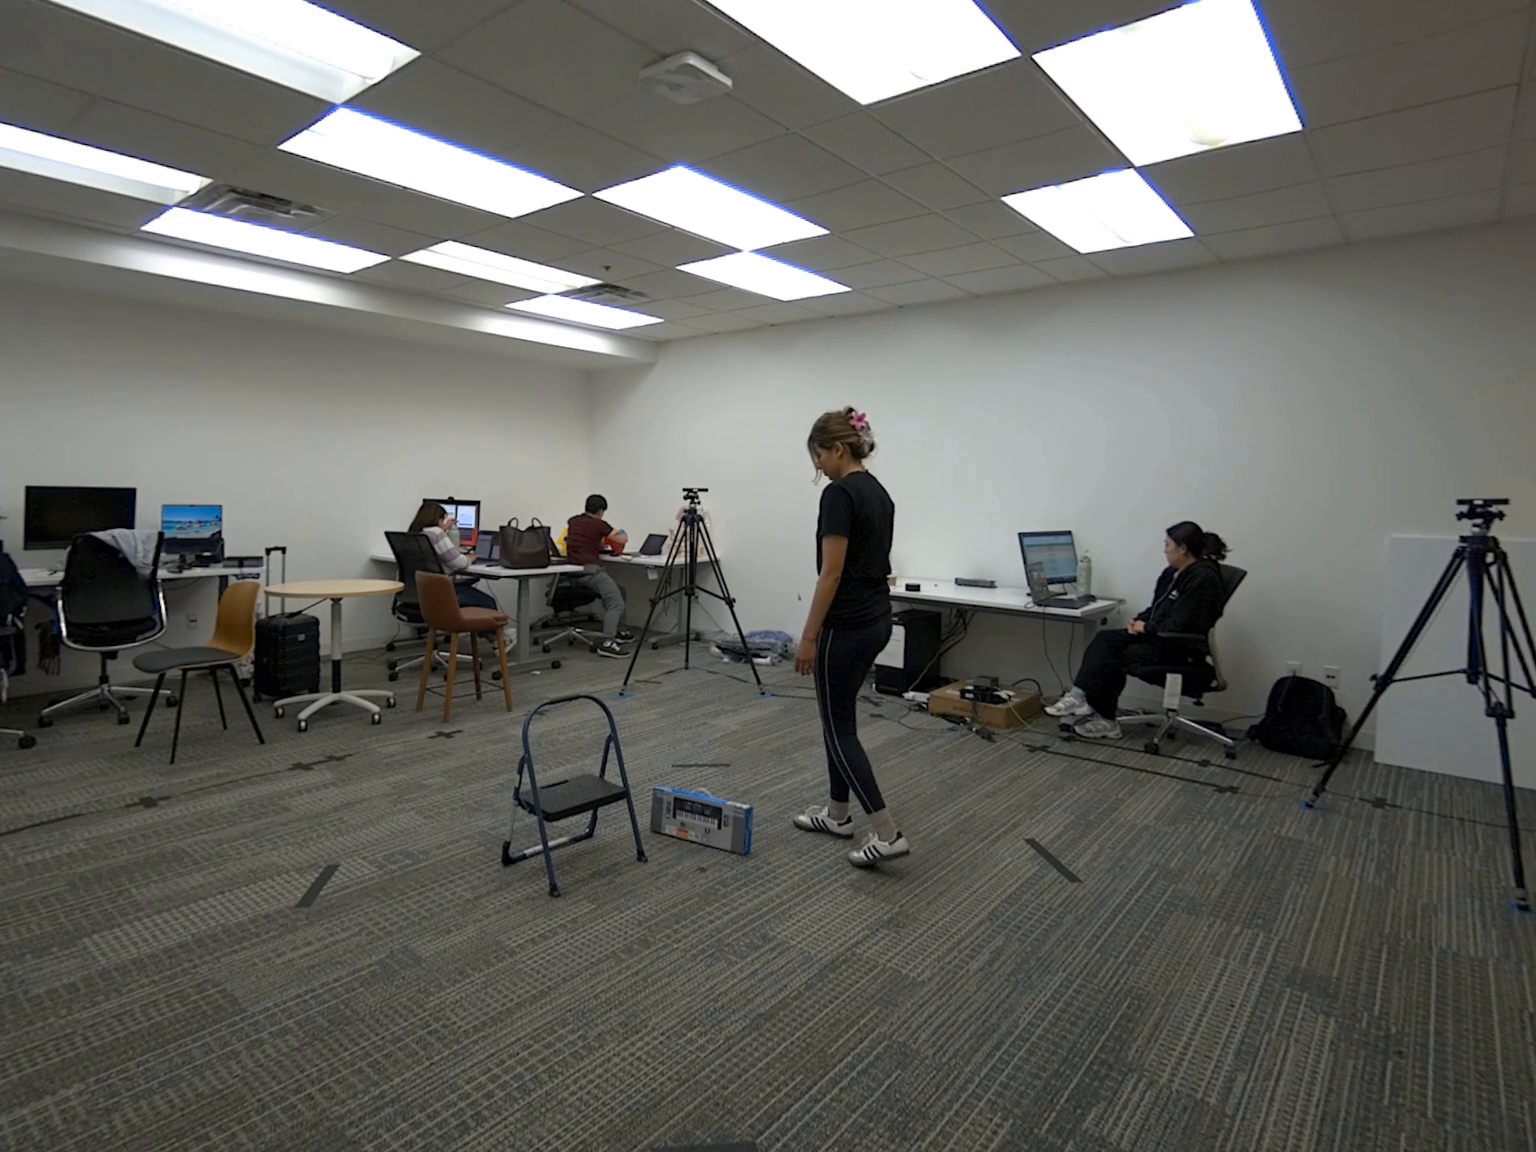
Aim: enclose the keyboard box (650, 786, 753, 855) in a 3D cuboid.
[{"bbox_3d":[-0.285,0.963,3.357,0.449,0.177,0.057,3,-5,27],"label":"keyboard box"}]
